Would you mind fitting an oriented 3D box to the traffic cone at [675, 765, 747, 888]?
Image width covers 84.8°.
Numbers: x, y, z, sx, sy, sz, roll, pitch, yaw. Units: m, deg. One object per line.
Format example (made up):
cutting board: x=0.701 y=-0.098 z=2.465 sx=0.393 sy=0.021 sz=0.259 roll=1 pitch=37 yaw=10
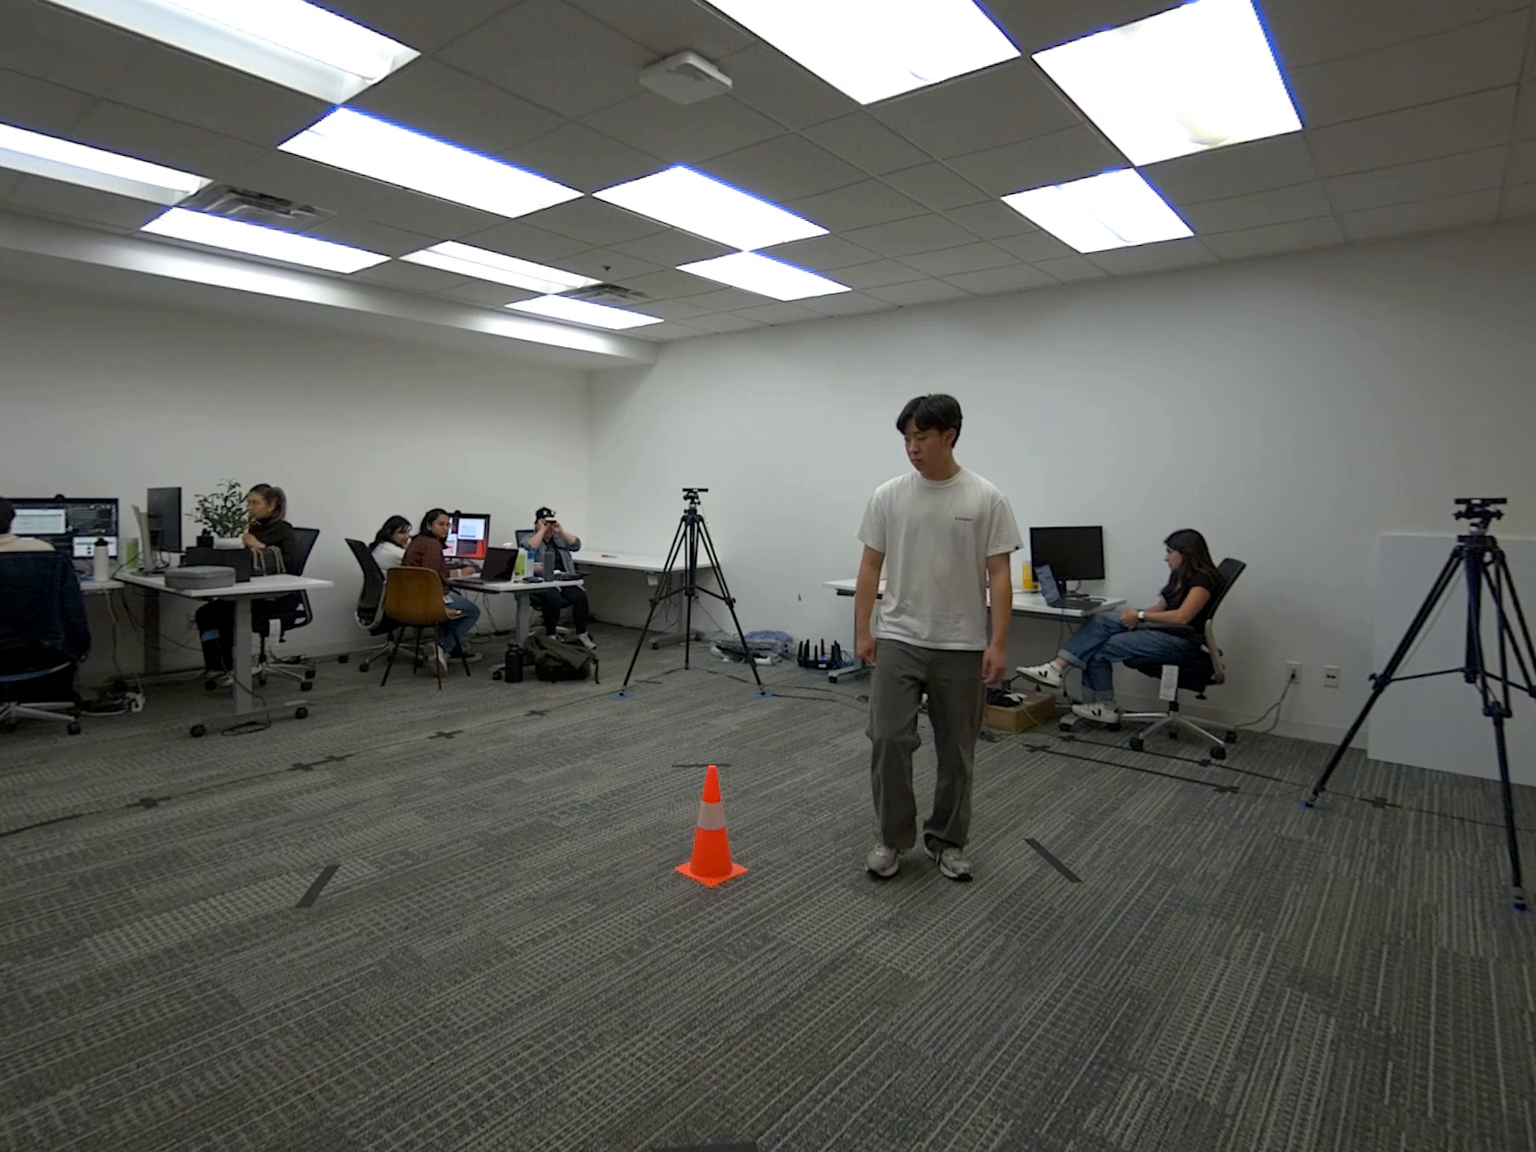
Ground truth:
traffic cone: x=-0.209 y=0.882 z=3.110 sx=0.210 sy=0.383 sz=0.199 roll=2 pitch=3 yaw=42
